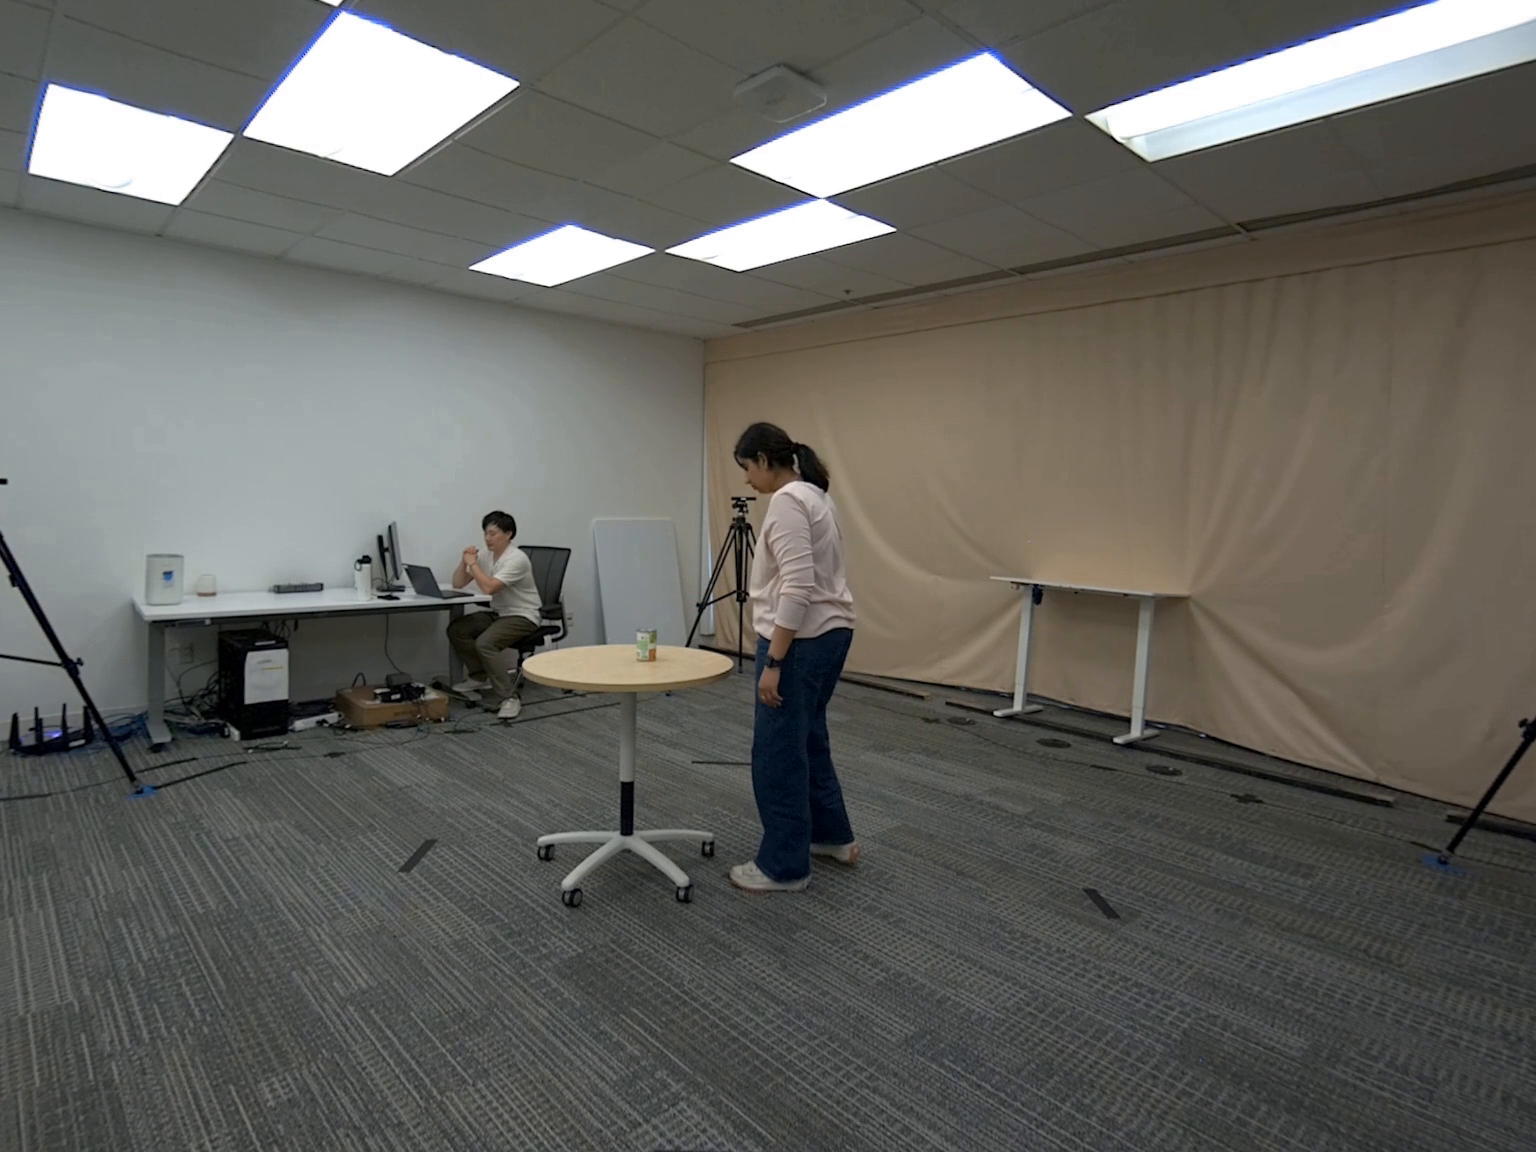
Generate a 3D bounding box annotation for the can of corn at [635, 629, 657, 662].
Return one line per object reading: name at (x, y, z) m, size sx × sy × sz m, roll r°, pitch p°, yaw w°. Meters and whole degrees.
can of corn at (-0.453, 0.258, 3.129) m, size 0.074 × 0.111 × 0.074 m, roll 2°, pitch 2°, yaw -1°
